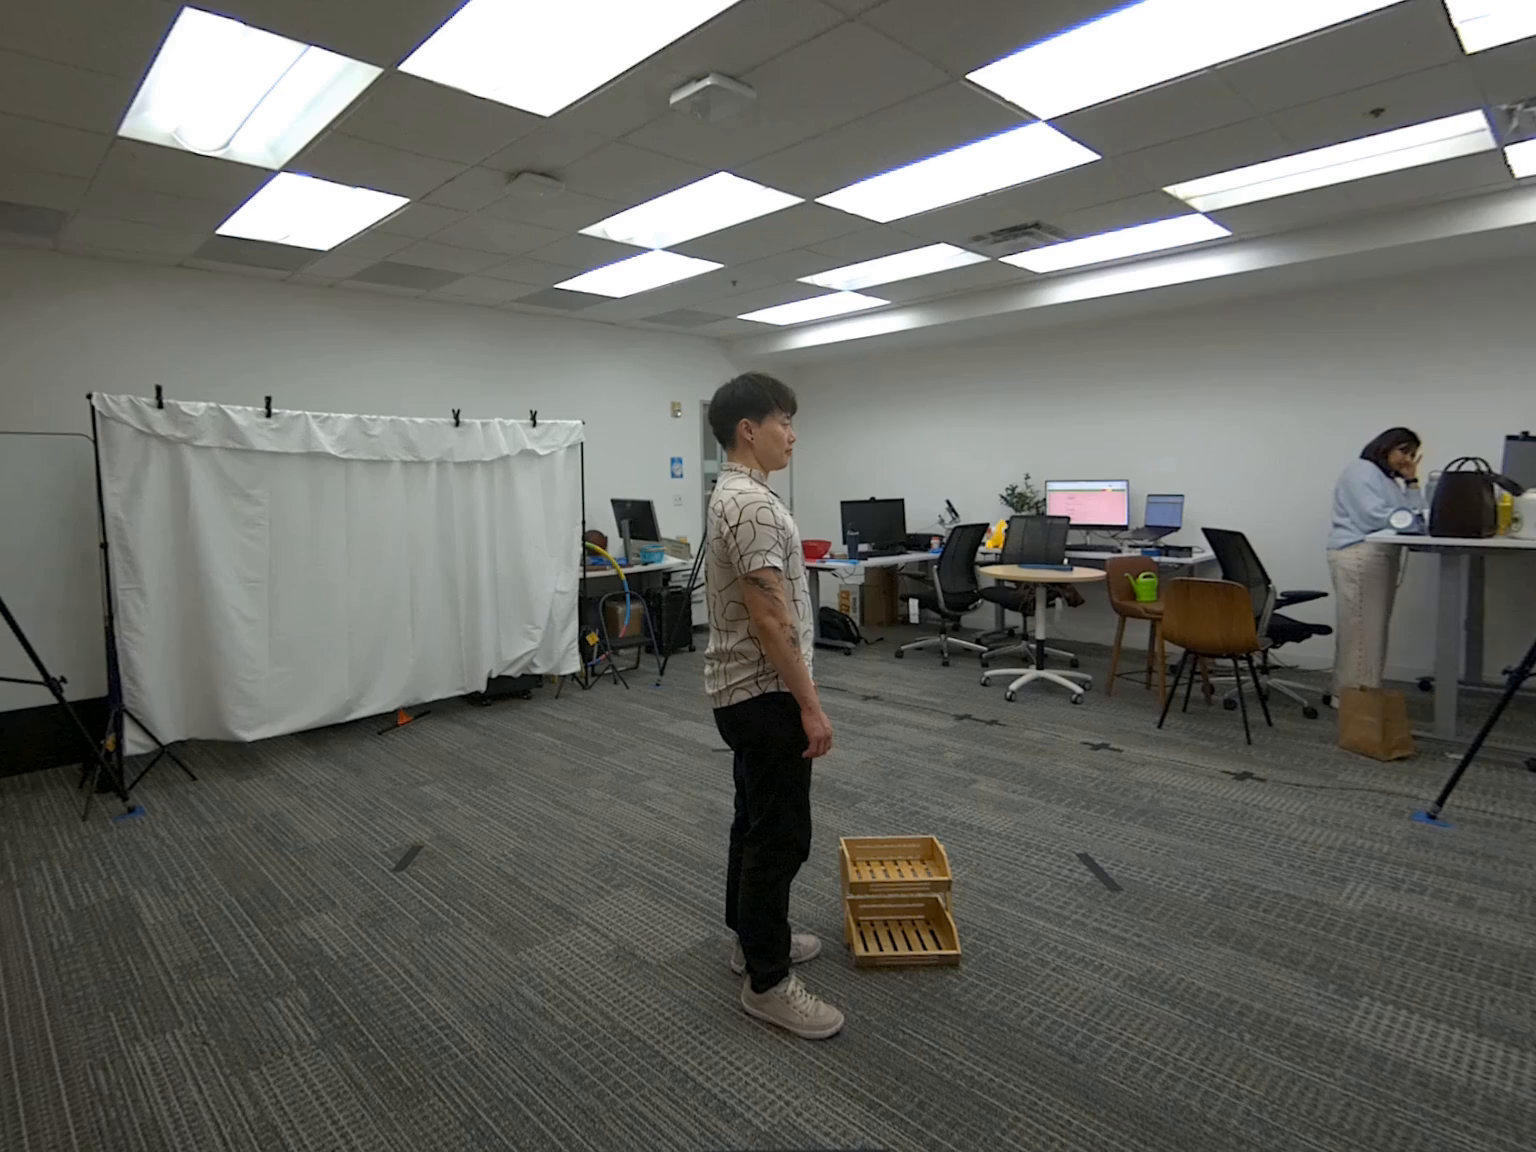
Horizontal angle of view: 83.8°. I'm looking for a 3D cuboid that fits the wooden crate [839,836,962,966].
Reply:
[{"bbox_3d":[0.396,0.970,2.556,0.324,0.272,0.304,-2,6,-3],"label":"wooden crate"}]
